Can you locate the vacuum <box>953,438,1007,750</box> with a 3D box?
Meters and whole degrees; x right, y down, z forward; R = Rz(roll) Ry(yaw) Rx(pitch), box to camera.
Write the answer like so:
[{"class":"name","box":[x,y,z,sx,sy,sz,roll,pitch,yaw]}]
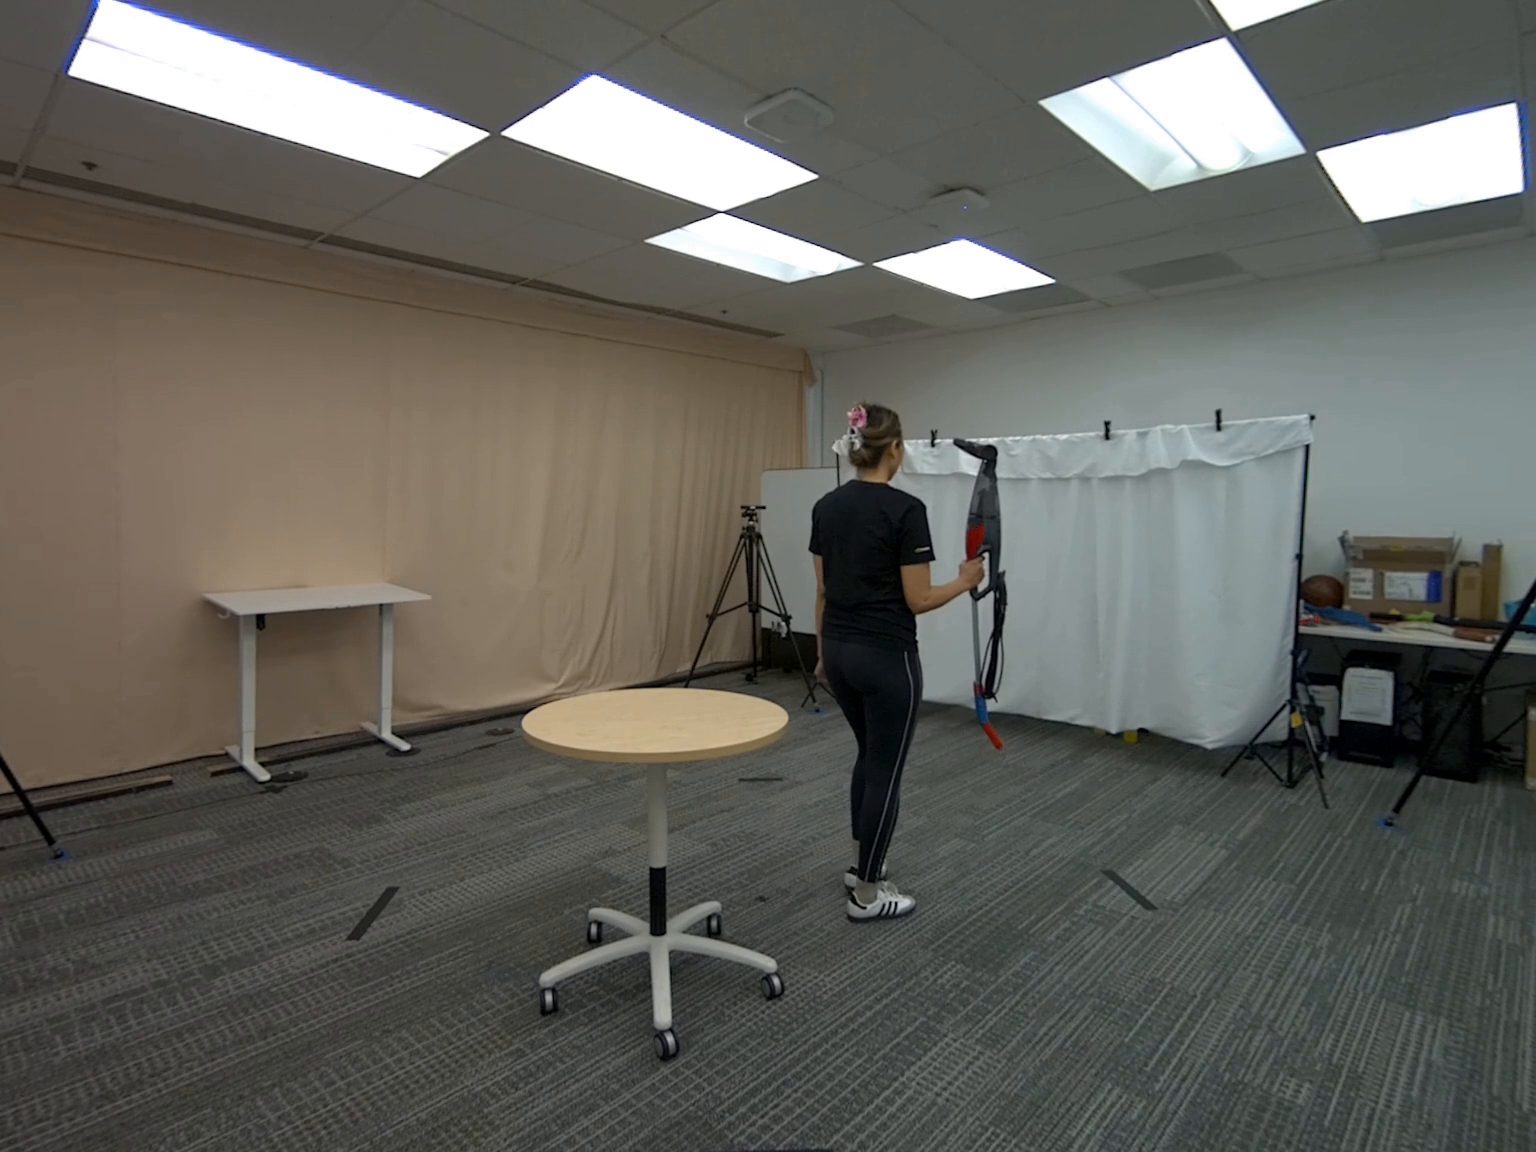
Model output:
[{"class":"vacuum","box":[0.763,0.077,2.853,0.147,1.047,0.248,-5,3,18]}]
